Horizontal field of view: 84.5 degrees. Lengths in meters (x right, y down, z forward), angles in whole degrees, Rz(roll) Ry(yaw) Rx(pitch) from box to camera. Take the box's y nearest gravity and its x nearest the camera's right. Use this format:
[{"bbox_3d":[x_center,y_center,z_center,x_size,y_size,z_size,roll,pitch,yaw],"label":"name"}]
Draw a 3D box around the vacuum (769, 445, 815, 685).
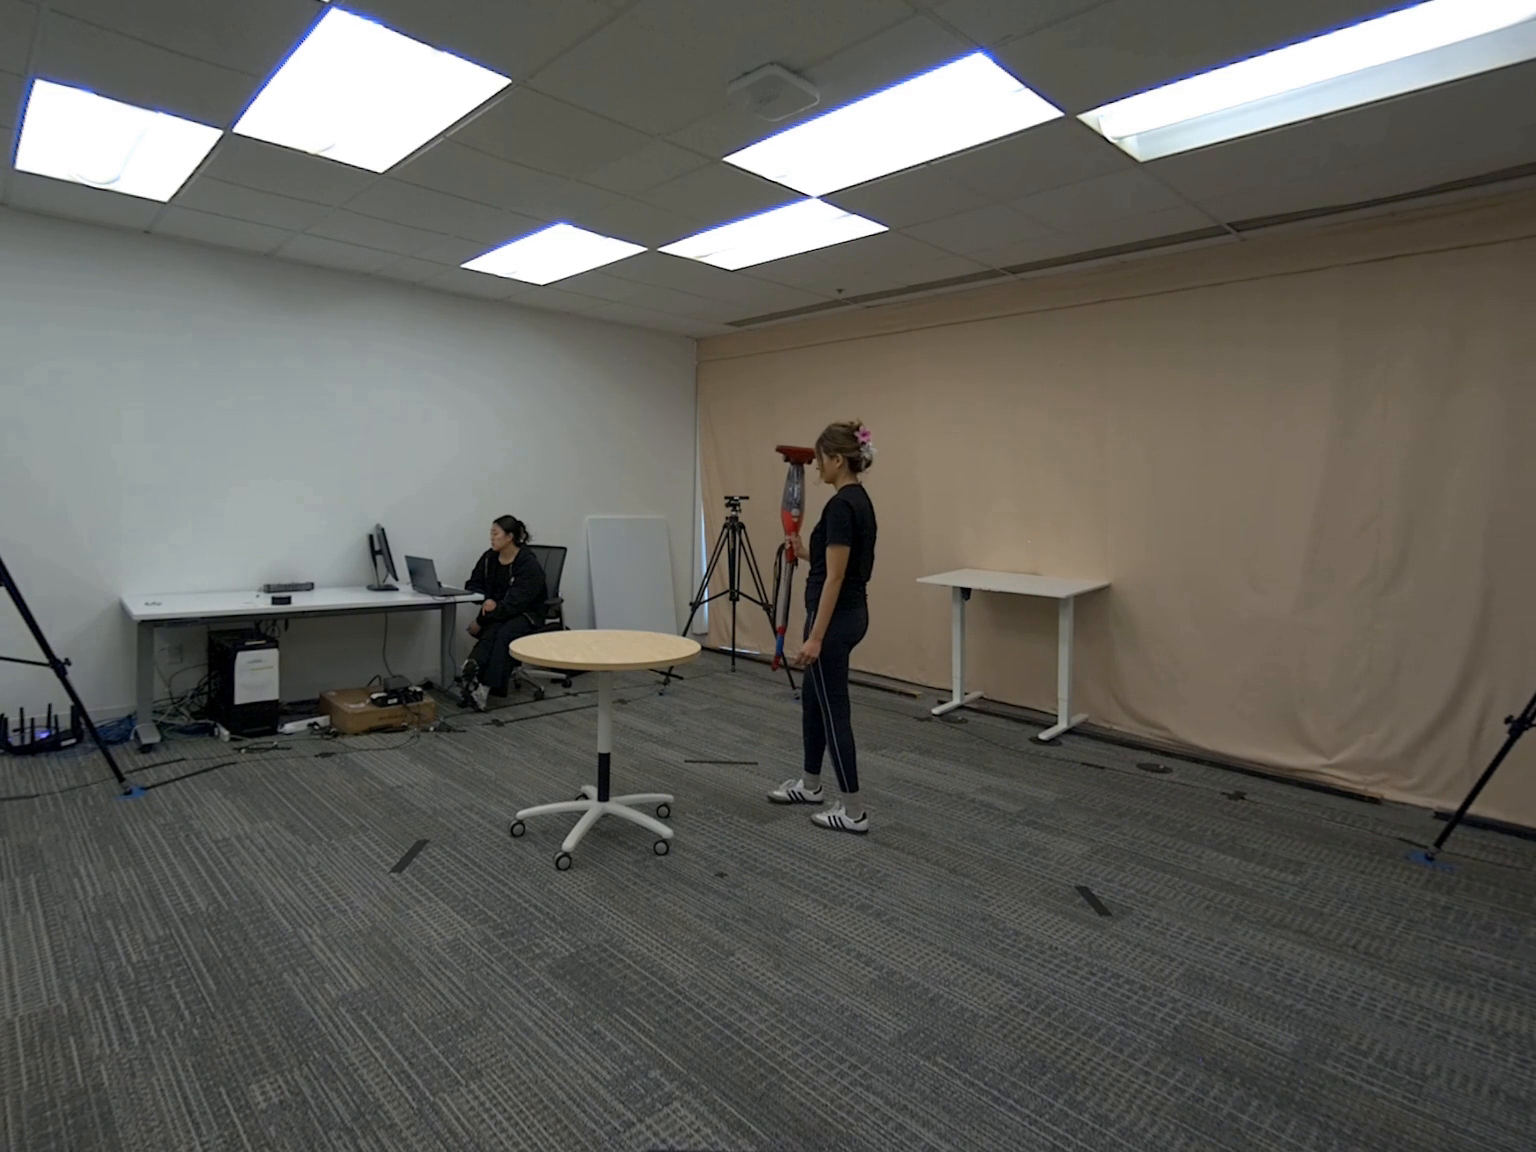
[{"bbox_3d":[0.081,-0.067,3.957,0.251,1.043,0.145,6,9,-6],"label":"vacuum"}]
